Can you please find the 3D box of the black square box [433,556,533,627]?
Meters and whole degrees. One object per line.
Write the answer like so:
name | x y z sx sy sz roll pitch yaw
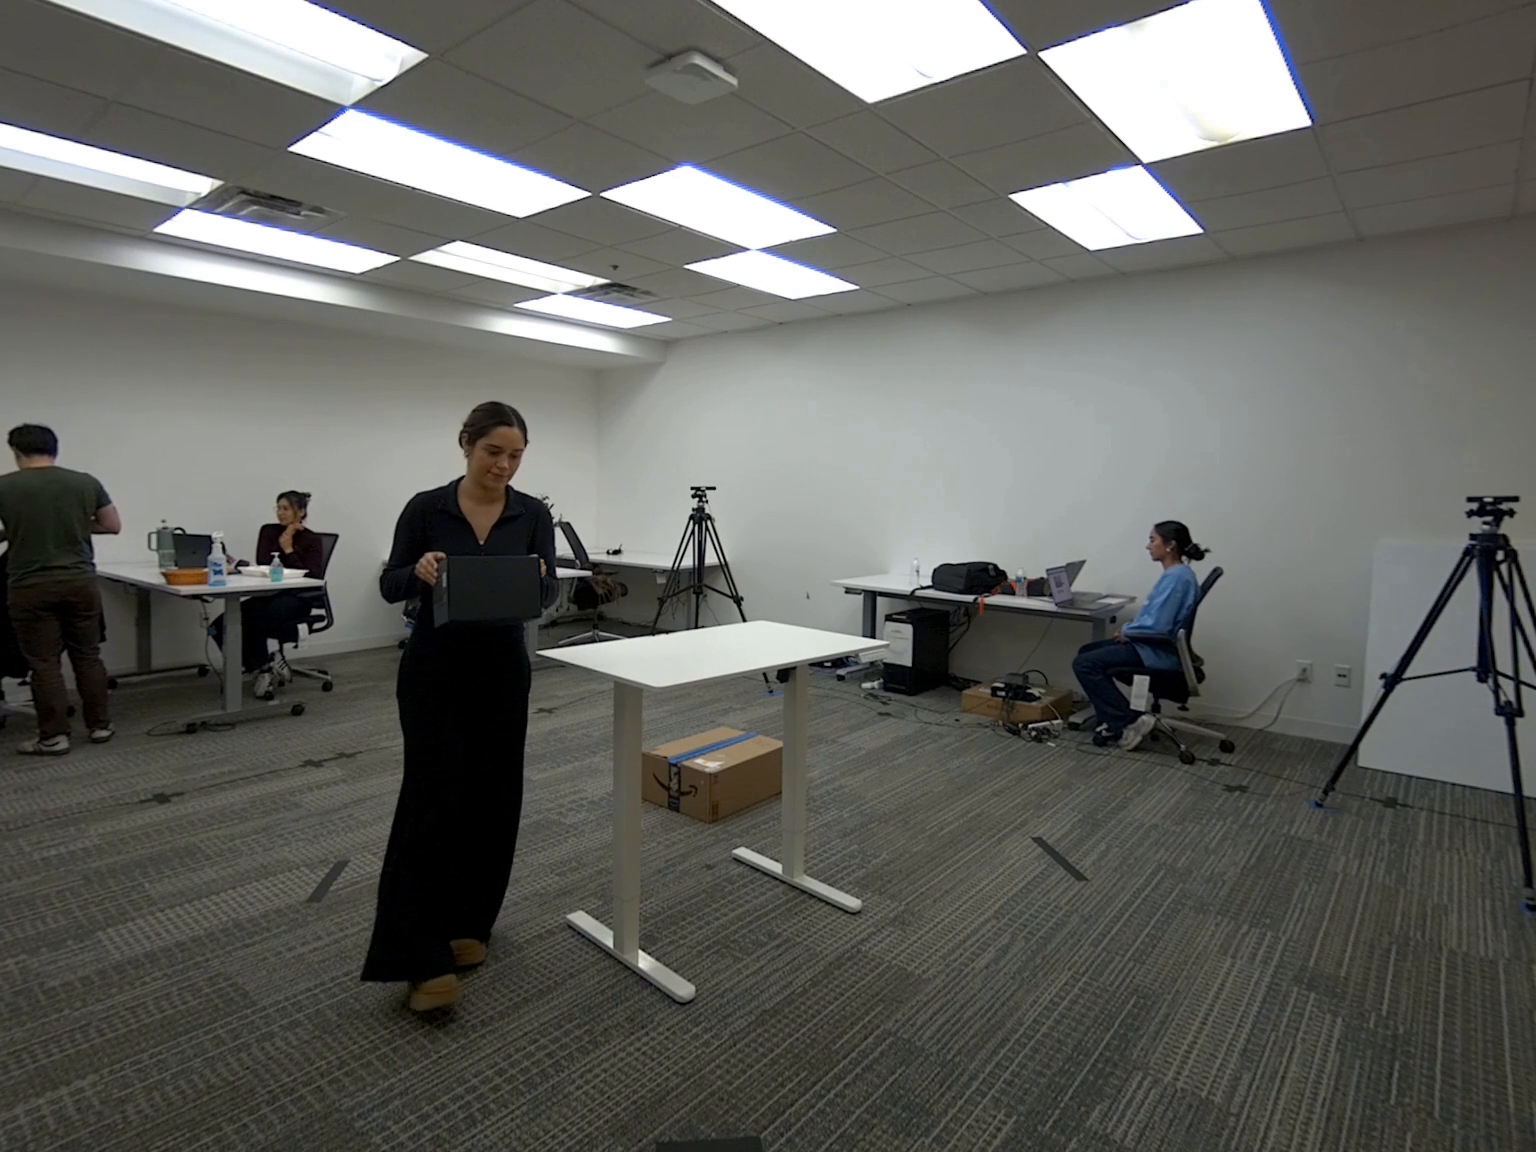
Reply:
black square box | -0.756 0.046 2.154 0.223 0.157 0.219 -2 -7 -21
